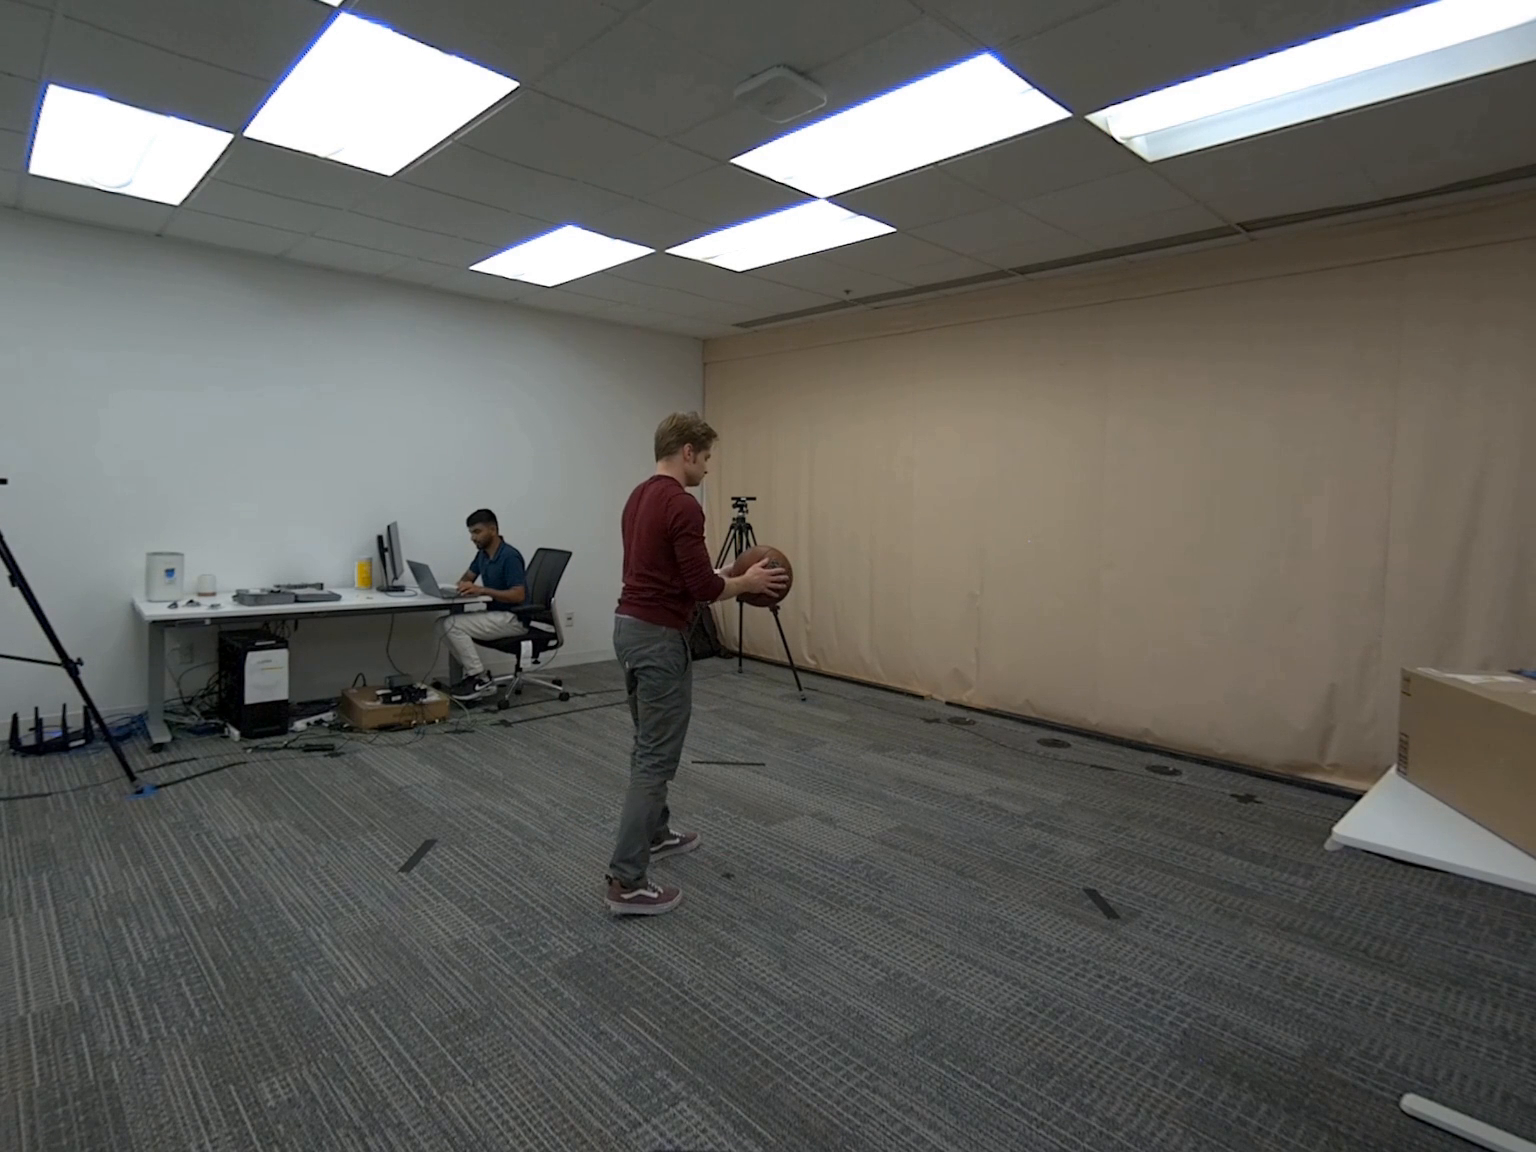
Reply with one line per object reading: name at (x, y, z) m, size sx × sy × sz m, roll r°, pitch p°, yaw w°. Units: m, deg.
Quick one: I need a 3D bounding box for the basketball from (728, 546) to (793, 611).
basketball at (-0.031, -0.003, 3.249) m, size 0.236 × 0.235 × 0.237 m, roll 1°, pitch 4°, yaw -1°
